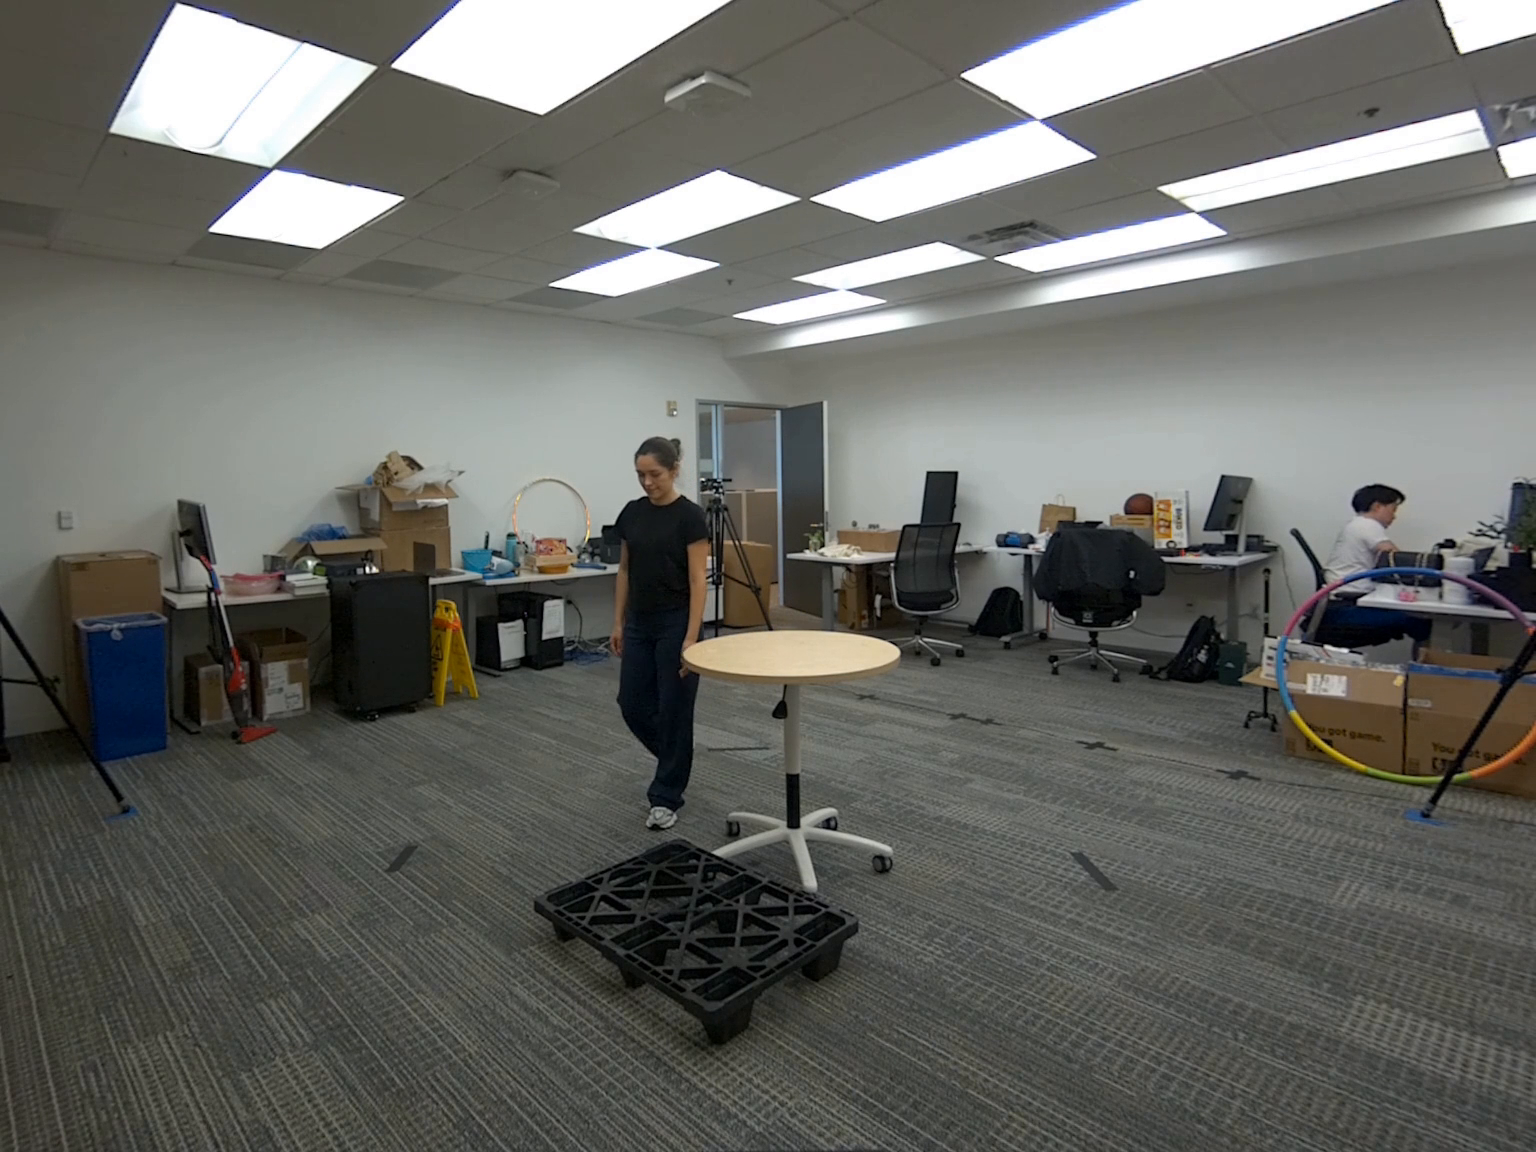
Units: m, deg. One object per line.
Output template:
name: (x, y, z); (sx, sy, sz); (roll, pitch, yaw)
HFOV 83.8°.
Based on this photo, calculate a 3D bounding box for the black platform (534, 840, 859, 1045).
black platform: (-0.222, 1.048, 2.546); (0.831, 0.142, 0.589); (6, 9, 43)
